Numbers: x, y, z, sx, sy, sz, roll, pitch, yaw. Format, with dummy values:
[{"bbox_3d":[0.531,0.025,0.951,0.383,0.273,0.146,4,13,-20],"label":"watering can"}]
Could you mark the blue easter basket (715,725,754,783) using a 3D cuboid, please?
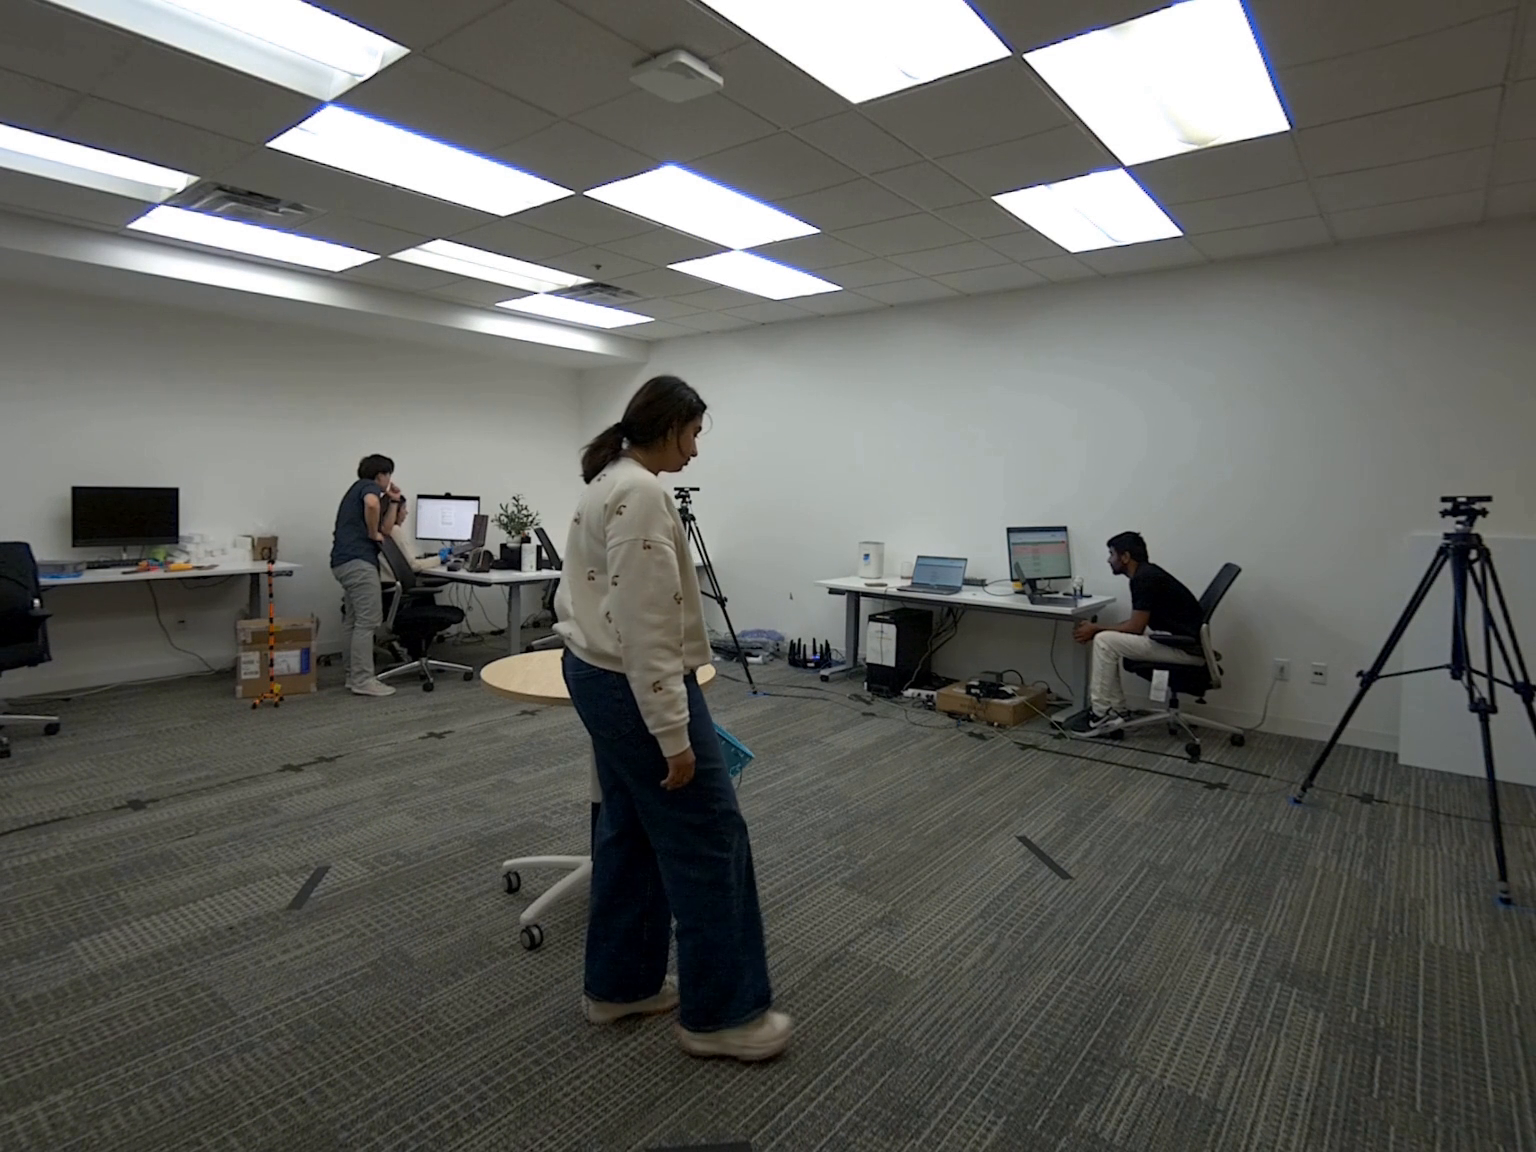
[{"bbox_3d":[-0.173,0.502,2.376,0.243,0.156,0.244,37,1,-3],"label":"blue easter basket"}]
